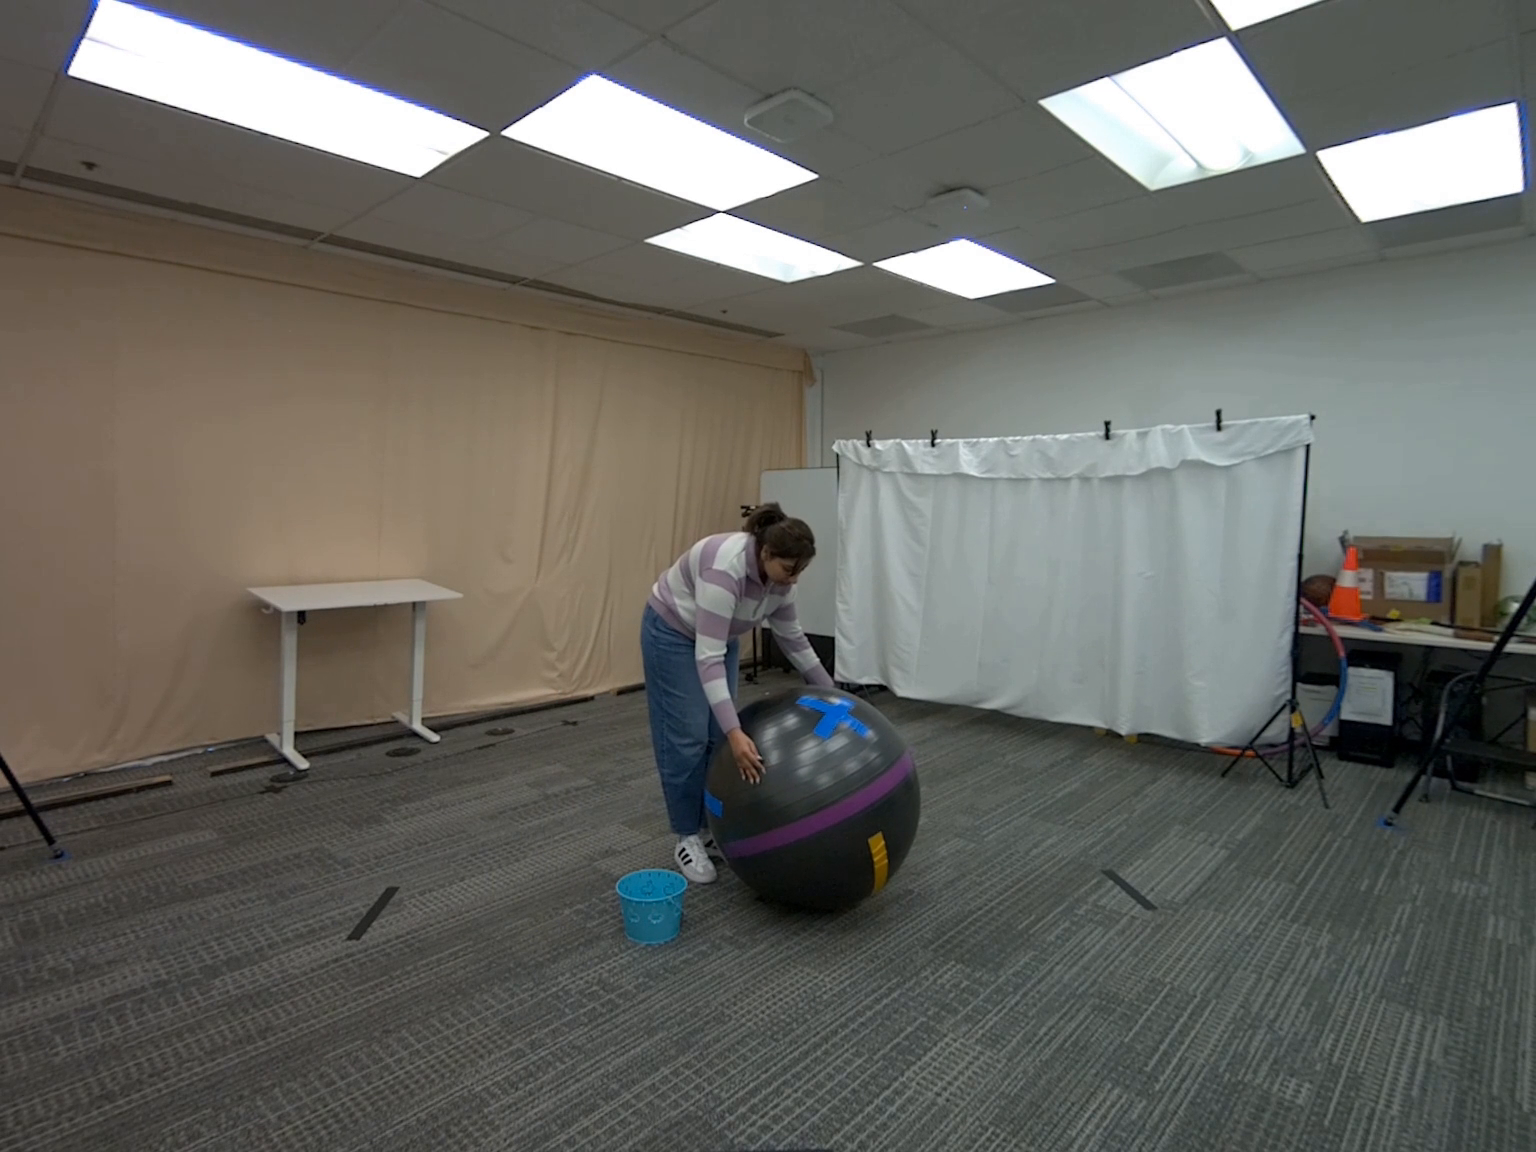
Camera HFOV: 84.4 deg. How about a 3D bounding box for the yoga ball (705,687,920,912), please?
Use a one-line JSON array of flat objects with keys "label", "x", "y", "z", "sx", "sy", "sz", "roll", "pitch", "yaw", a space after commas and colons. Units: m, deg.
[{"label": "yoga ball", "x": 0.142, "y": 0.784, "z": 2.972, "sx": 0.757, "sy": 0.756, "sz": 0.760, "roll": 0, "pitch": 4, "yaw": -2}]
